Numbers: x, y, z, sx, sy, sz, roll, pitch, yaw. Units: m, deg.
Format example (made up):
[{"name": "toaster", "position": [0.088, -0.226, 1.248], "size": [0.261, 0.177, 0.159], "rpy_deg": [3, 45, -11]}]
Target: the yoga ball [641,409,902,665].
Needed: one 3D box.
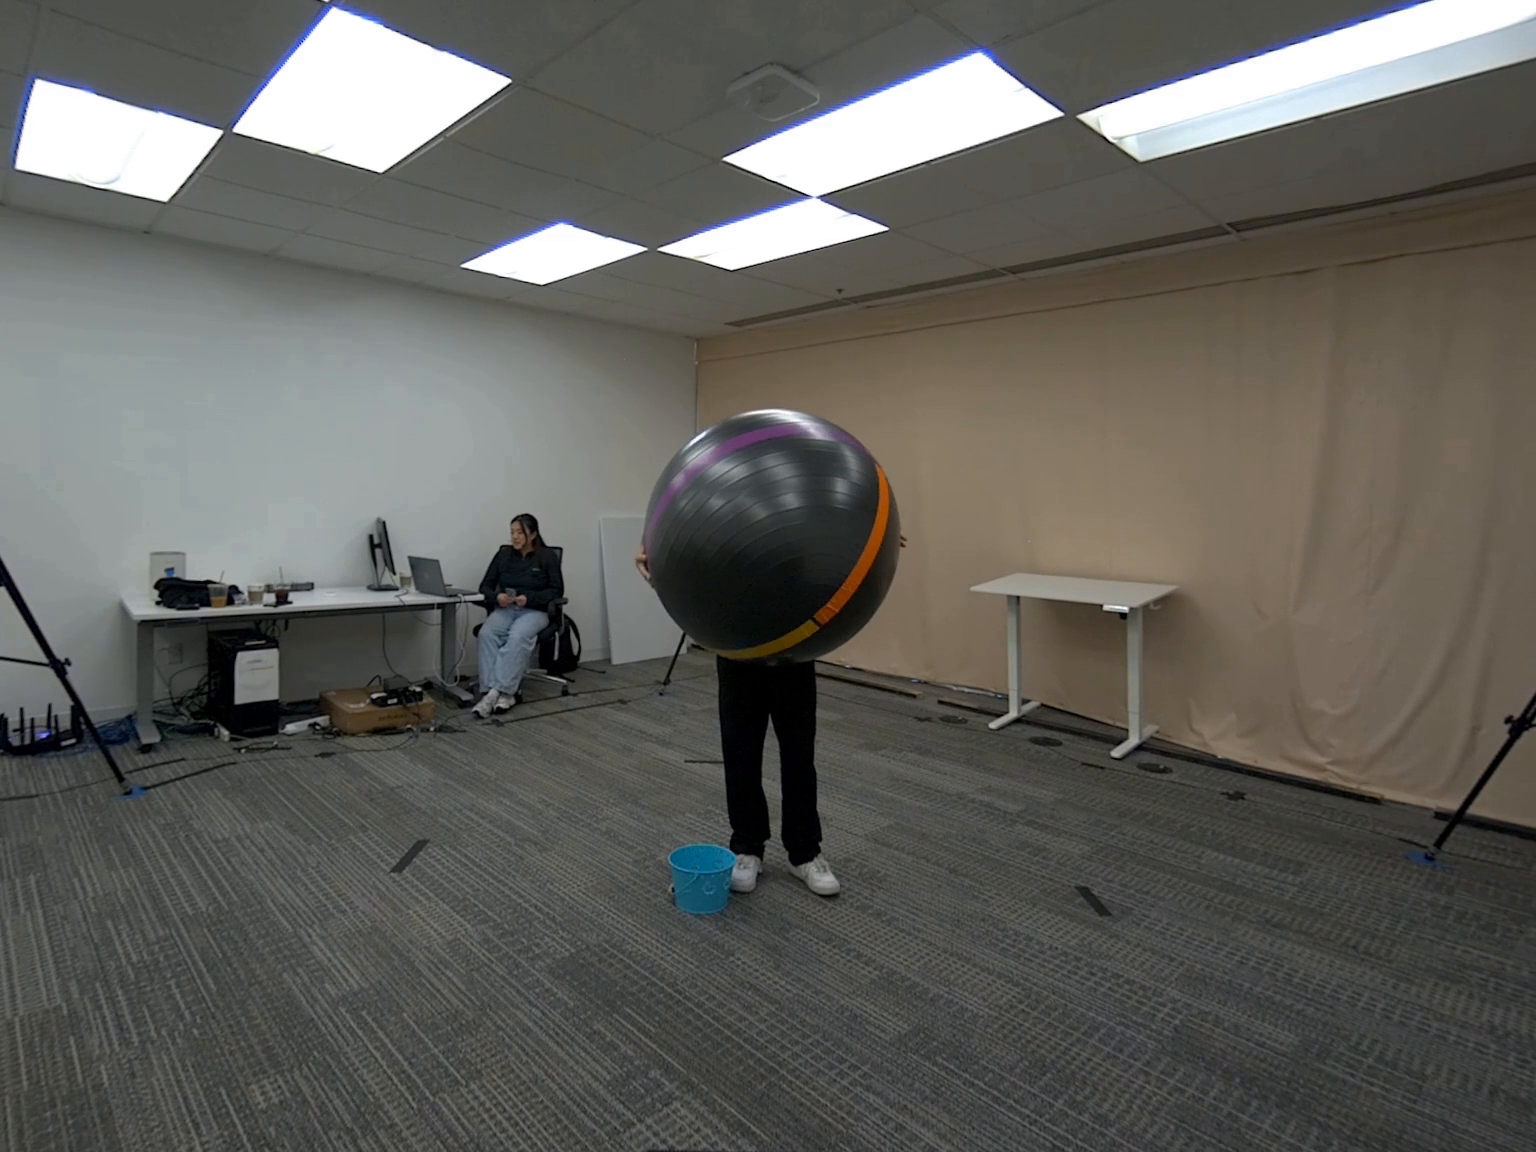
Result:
[{"name": "yoga ball", "position": [0.010, -0.104, 2.502], "size": [0.757, 0.756, 0.761], "rpy_deg": [1, 4, -1]}]
